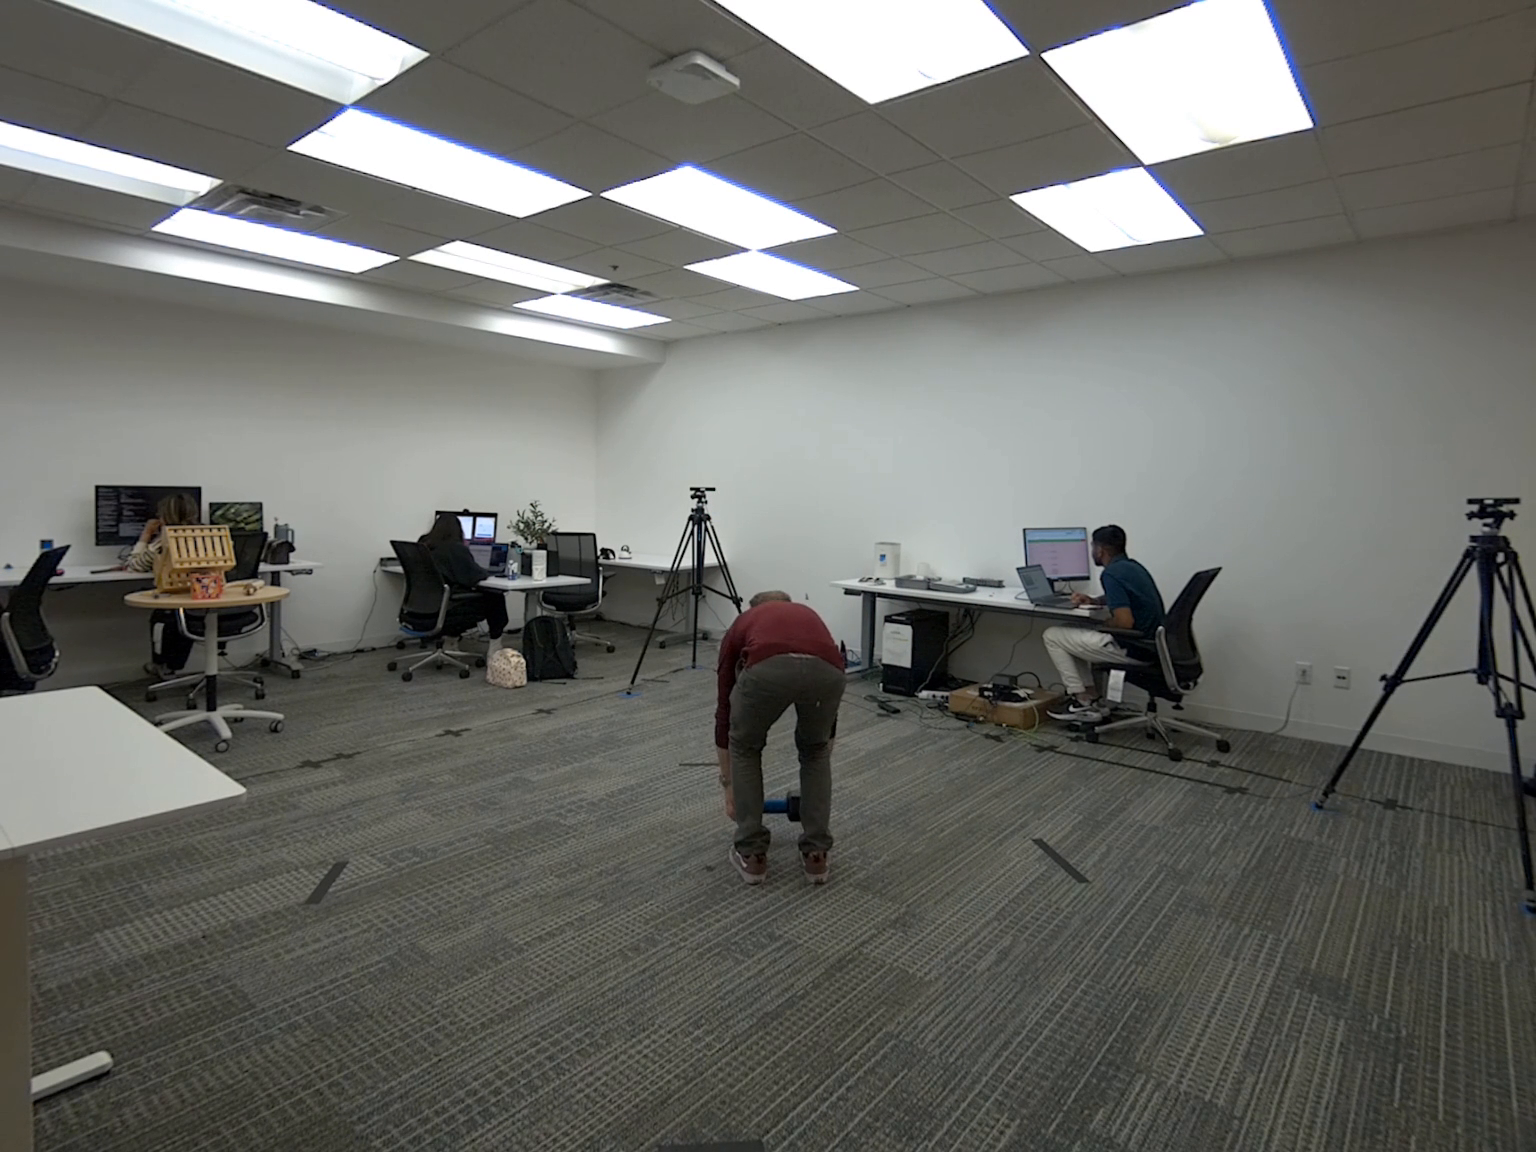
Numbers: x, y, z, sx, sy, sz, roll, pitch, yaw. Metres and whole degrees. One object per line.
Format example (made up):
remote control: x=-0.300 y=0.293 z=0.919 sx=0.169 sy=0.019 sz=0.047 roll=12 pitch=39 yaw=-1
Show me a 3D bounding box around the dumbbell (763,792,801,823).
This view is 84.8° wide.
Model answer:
dumbbell: x=0.007 y=0.903 z=3.366 sx=0.292 sy=0.120 sz=0.112 roll=0 pitch=39 yaw=-5
